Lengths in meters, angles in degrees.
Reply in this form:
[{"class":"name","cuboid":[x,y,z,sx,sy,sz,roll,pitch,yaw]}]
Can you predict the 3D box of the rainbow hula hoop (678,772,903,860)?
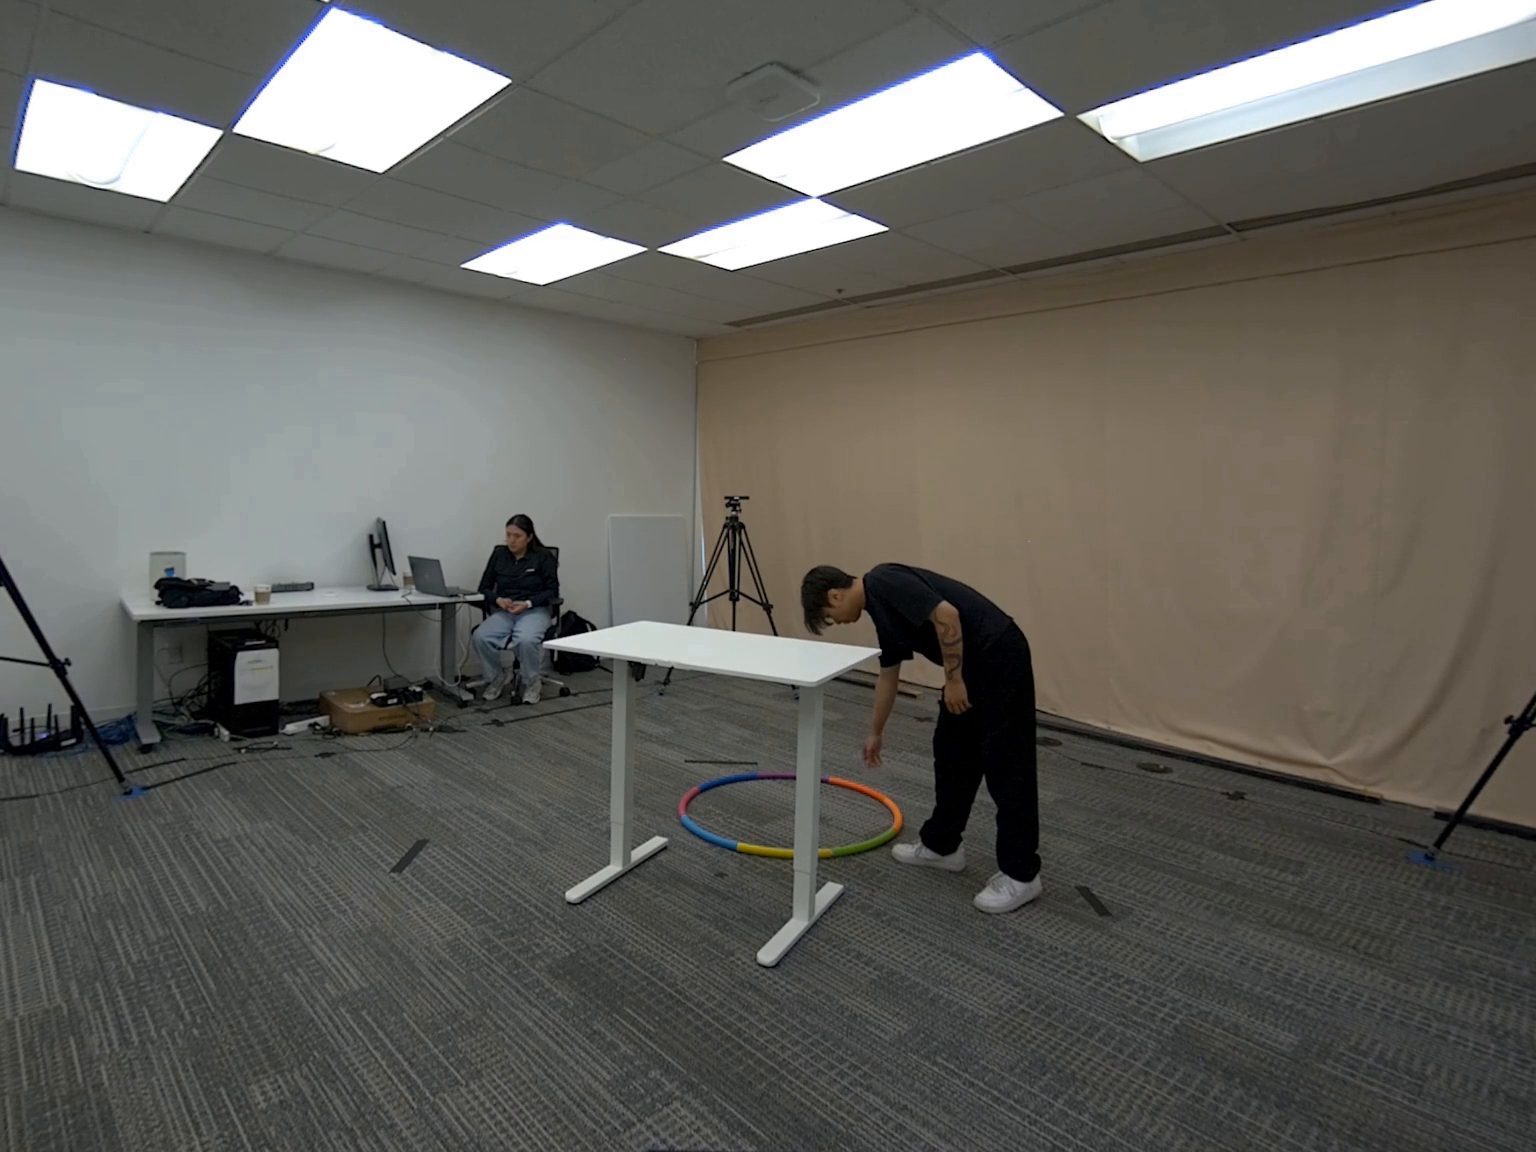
[{"class":"rainbow hula hoop","cuboid":[0.084,1.026,3.734,0.978,0.035,0.982,1,5,-1]}]
